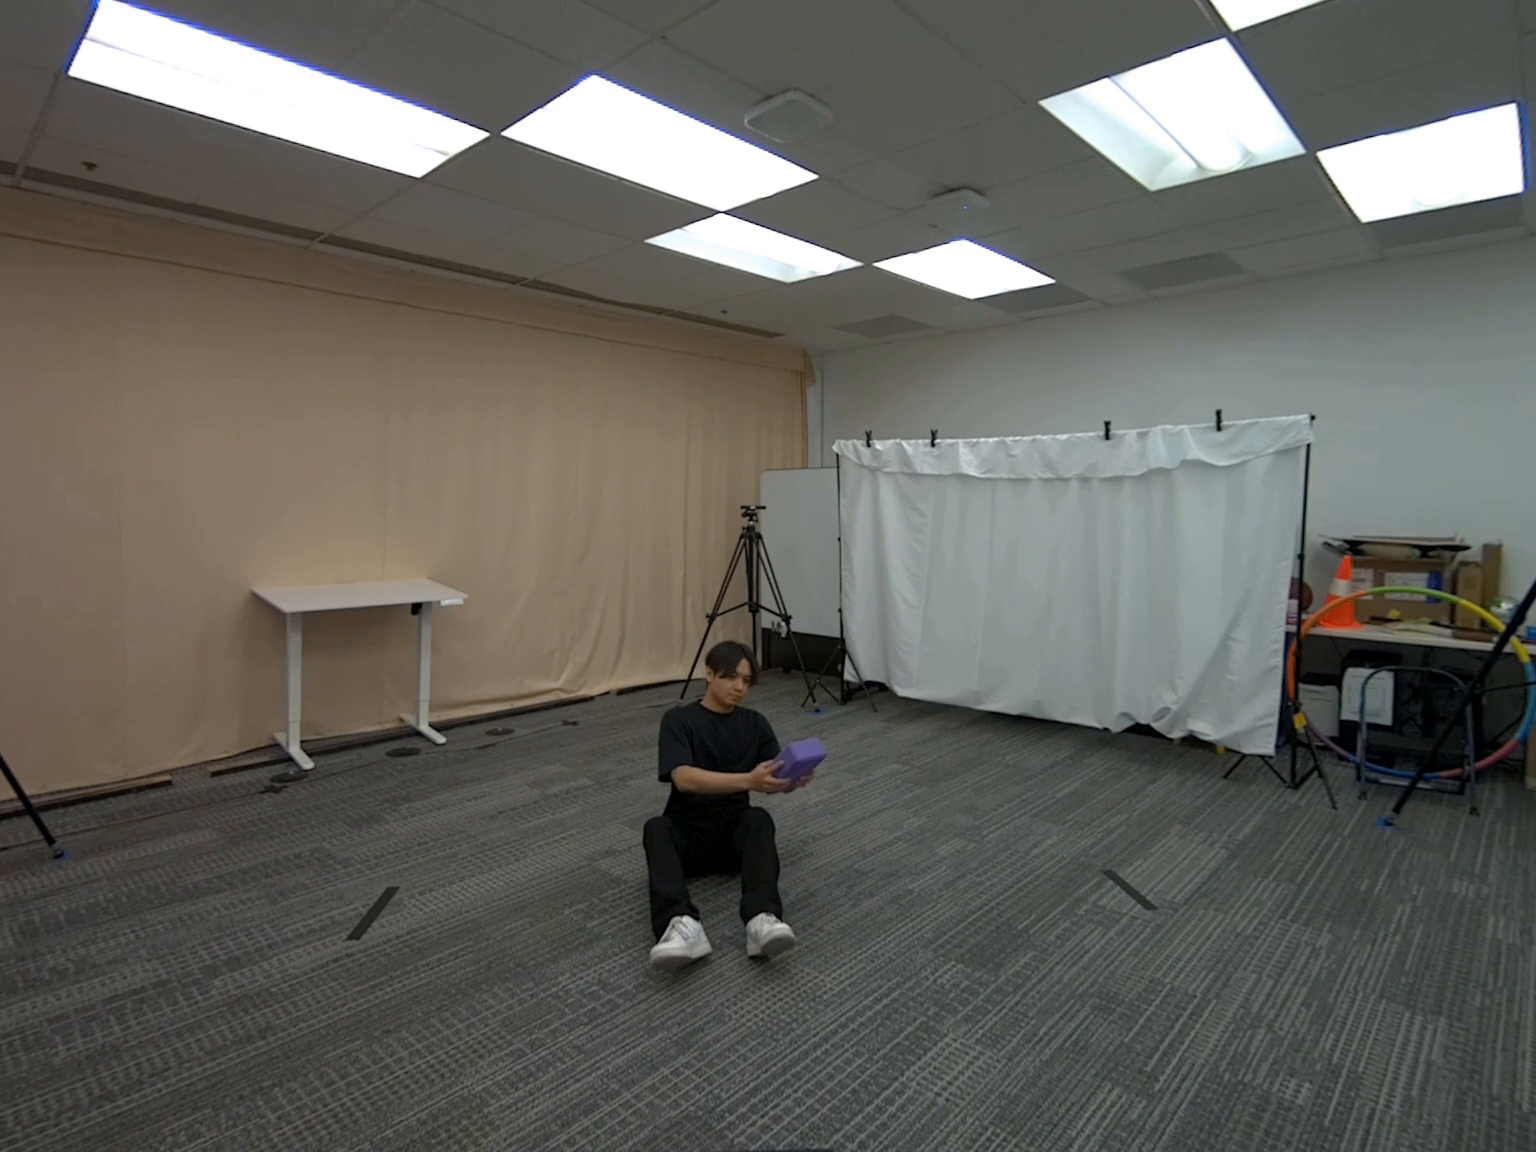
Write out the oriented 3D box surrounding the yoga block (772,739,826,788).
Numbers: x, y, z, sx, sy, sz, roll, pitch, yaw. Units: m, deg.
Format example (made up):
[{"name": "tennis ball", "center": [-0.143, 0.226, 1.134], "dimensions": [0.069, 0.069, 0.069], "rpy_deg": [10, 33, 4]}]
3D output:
[{"name": "yoga block", "center": [0.082, 0.671, 2.959], "dimensions": [0.144, 0.078, 0.230], "rpy_deg": [-1, -41, -40]}]
